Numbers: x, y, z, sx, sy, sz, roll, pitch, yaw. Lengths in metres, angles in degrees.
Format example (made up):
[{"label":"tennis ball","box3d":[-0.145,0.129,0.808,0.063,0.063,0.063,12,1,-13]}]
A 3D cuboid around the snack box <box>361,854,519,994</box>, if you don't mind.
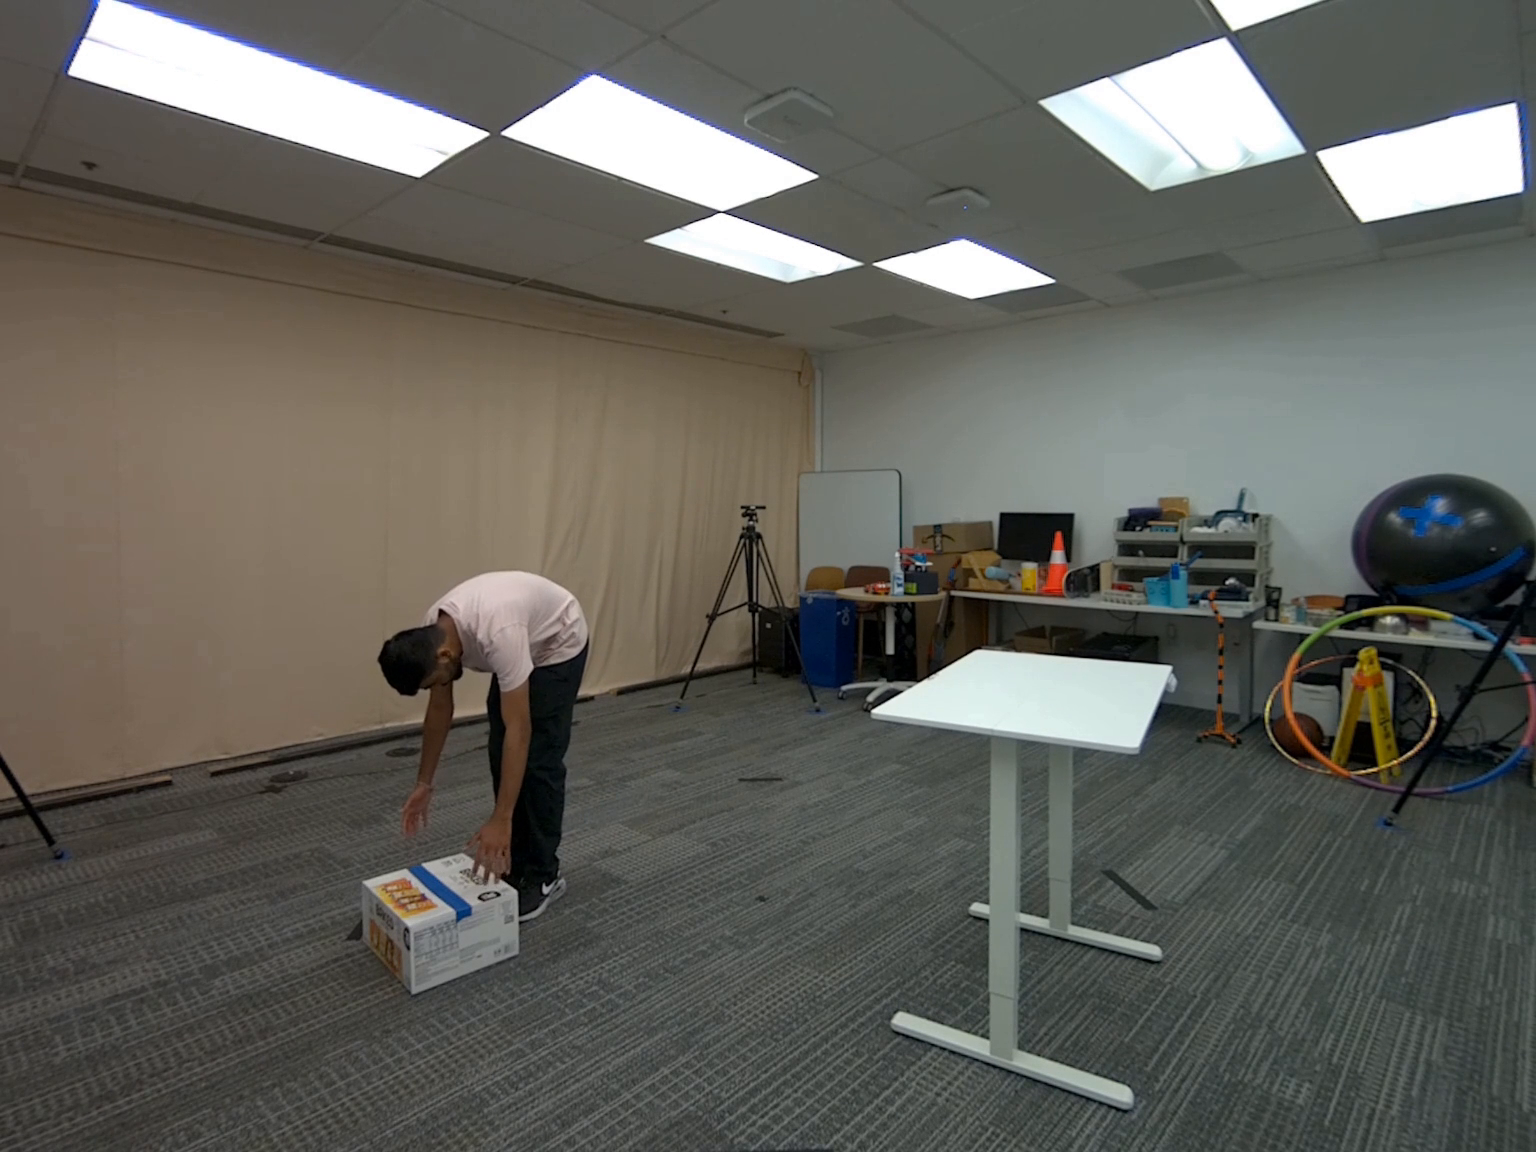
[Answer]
[{"label":"snack box","box3d":[-1.039,1.080,2.650,0.330,0.205,0.418,-5,6,-42]}]
